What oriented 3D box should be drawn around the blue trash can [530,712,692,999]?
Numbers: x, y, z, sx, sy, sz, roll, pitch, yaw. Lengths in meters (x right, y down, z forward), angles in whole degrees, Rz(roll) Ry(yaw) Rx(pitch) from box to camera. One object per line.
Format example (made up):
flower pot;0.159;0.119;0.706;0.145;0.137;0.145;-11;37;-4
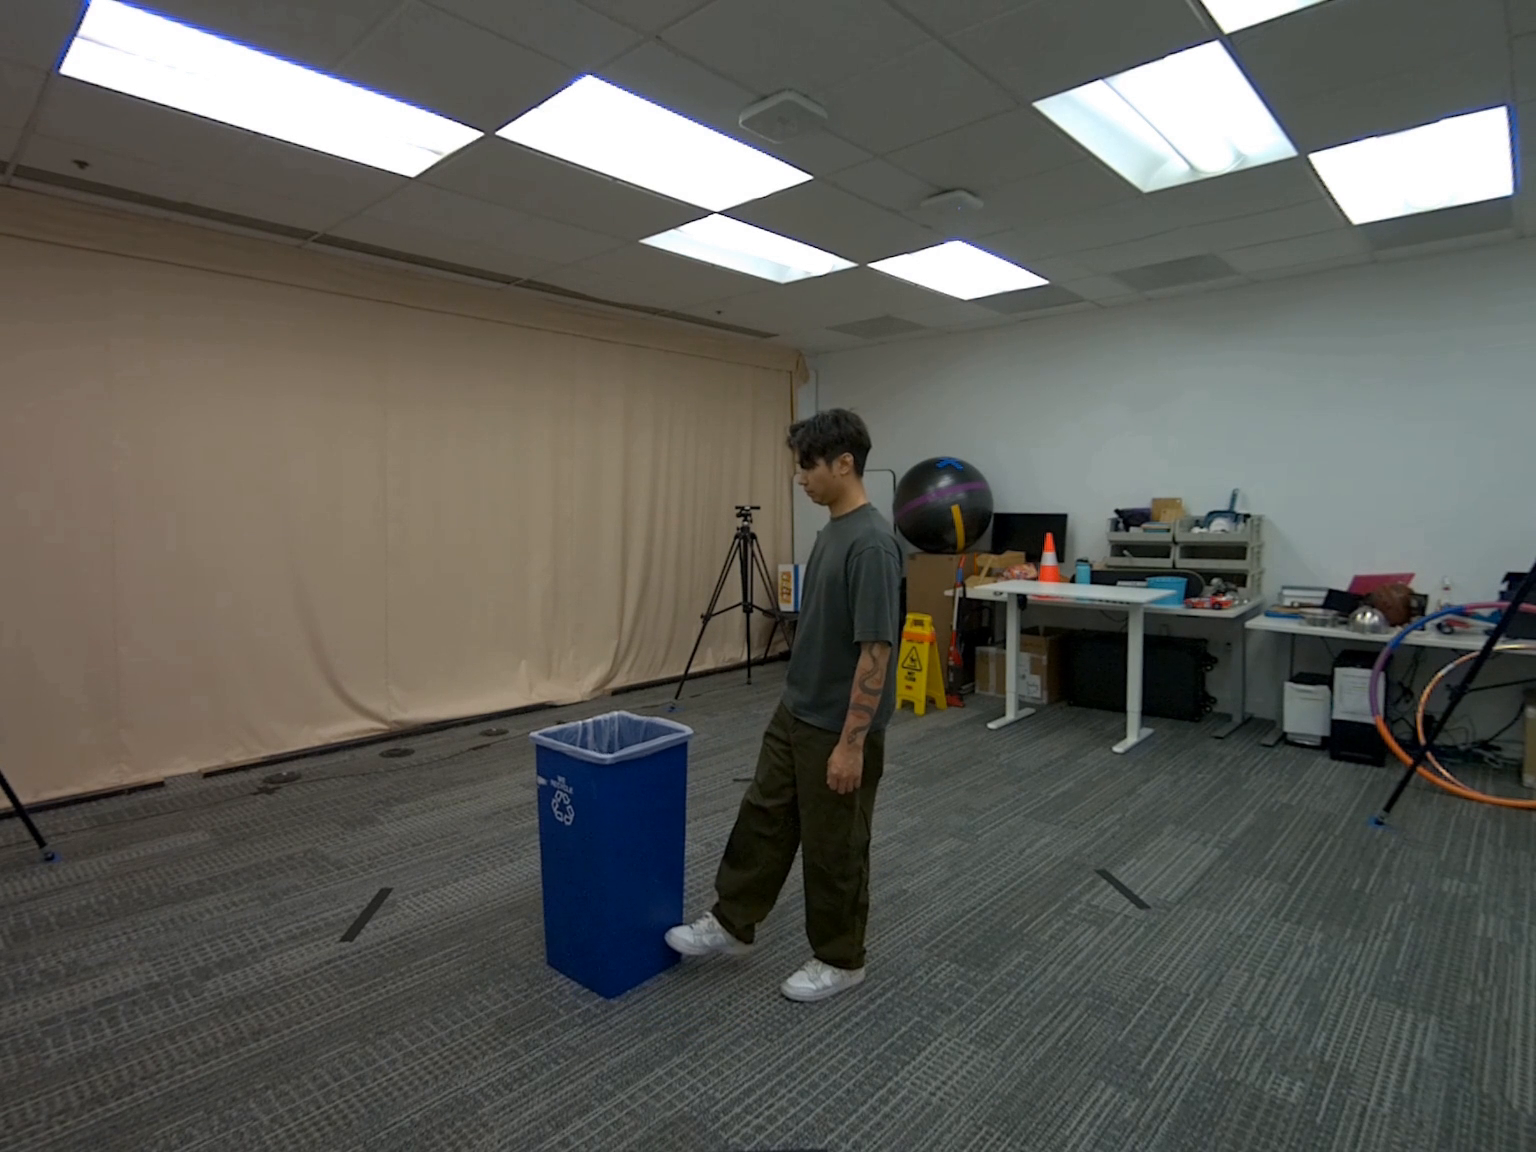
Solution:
blue trash can;-0.469;0.823;2.568;0.390;0.712;0.363;3;5;40
